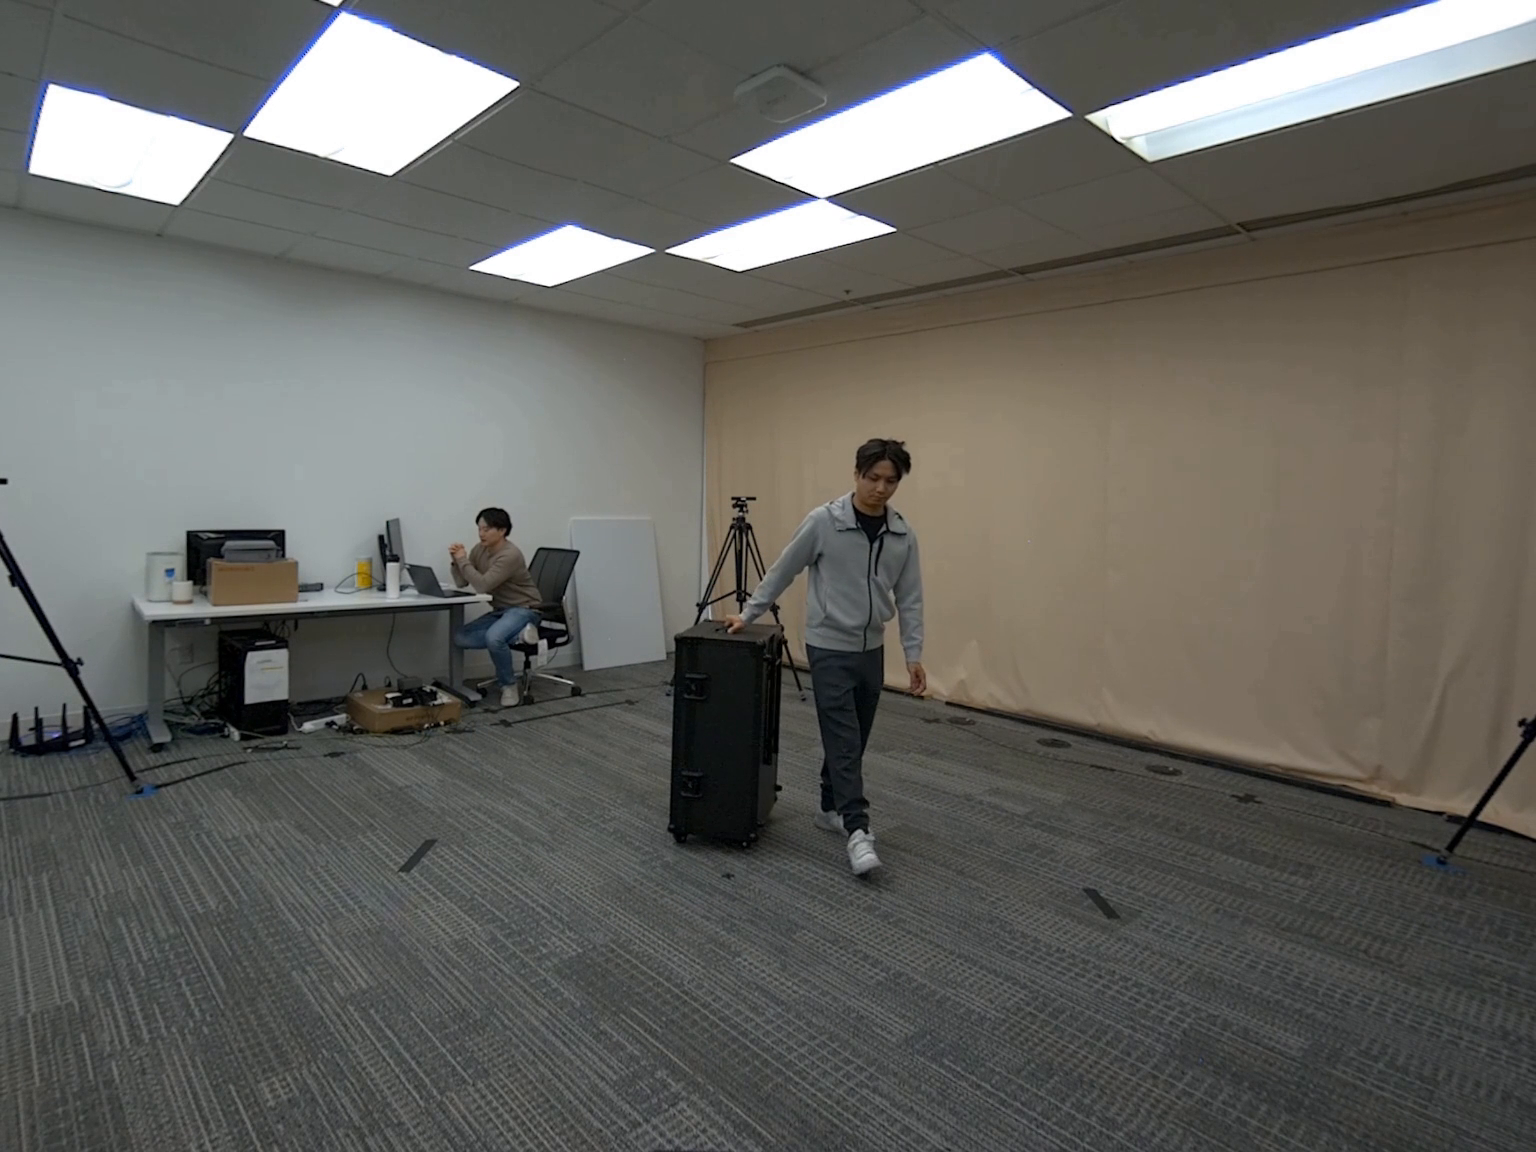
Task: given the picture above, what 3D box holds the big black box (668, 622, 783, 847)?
[{"bbox_3d":[-0.162,0.645,3.495,0.400,0.859,0.517,4,4,11],"label":"big black box"}]
